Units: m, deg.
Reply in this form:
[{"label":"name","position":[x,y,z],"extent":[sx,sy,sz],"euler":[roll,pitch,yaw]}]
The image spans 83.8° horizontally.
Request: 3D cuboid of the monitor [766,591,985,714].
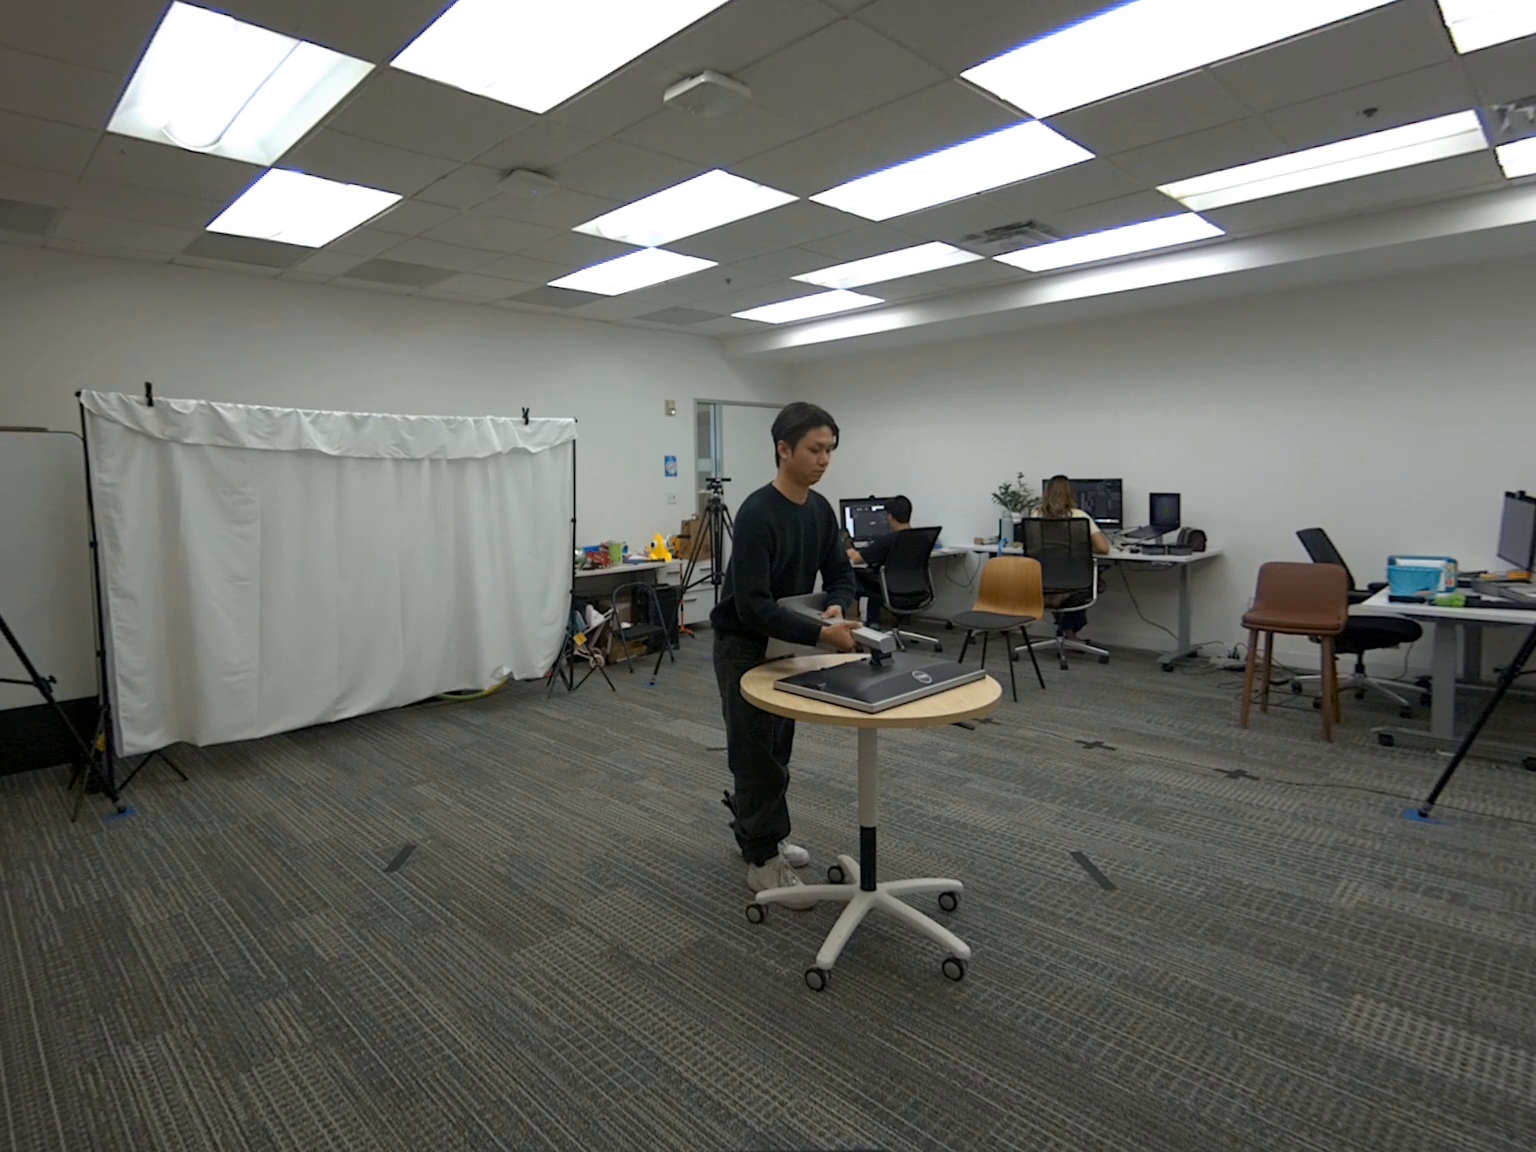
[{"label":"monitor","position":[0.289,0.241,2.584],"extent":[0.526,0.185,0.542],"euler":[-10,24,-43]}]
